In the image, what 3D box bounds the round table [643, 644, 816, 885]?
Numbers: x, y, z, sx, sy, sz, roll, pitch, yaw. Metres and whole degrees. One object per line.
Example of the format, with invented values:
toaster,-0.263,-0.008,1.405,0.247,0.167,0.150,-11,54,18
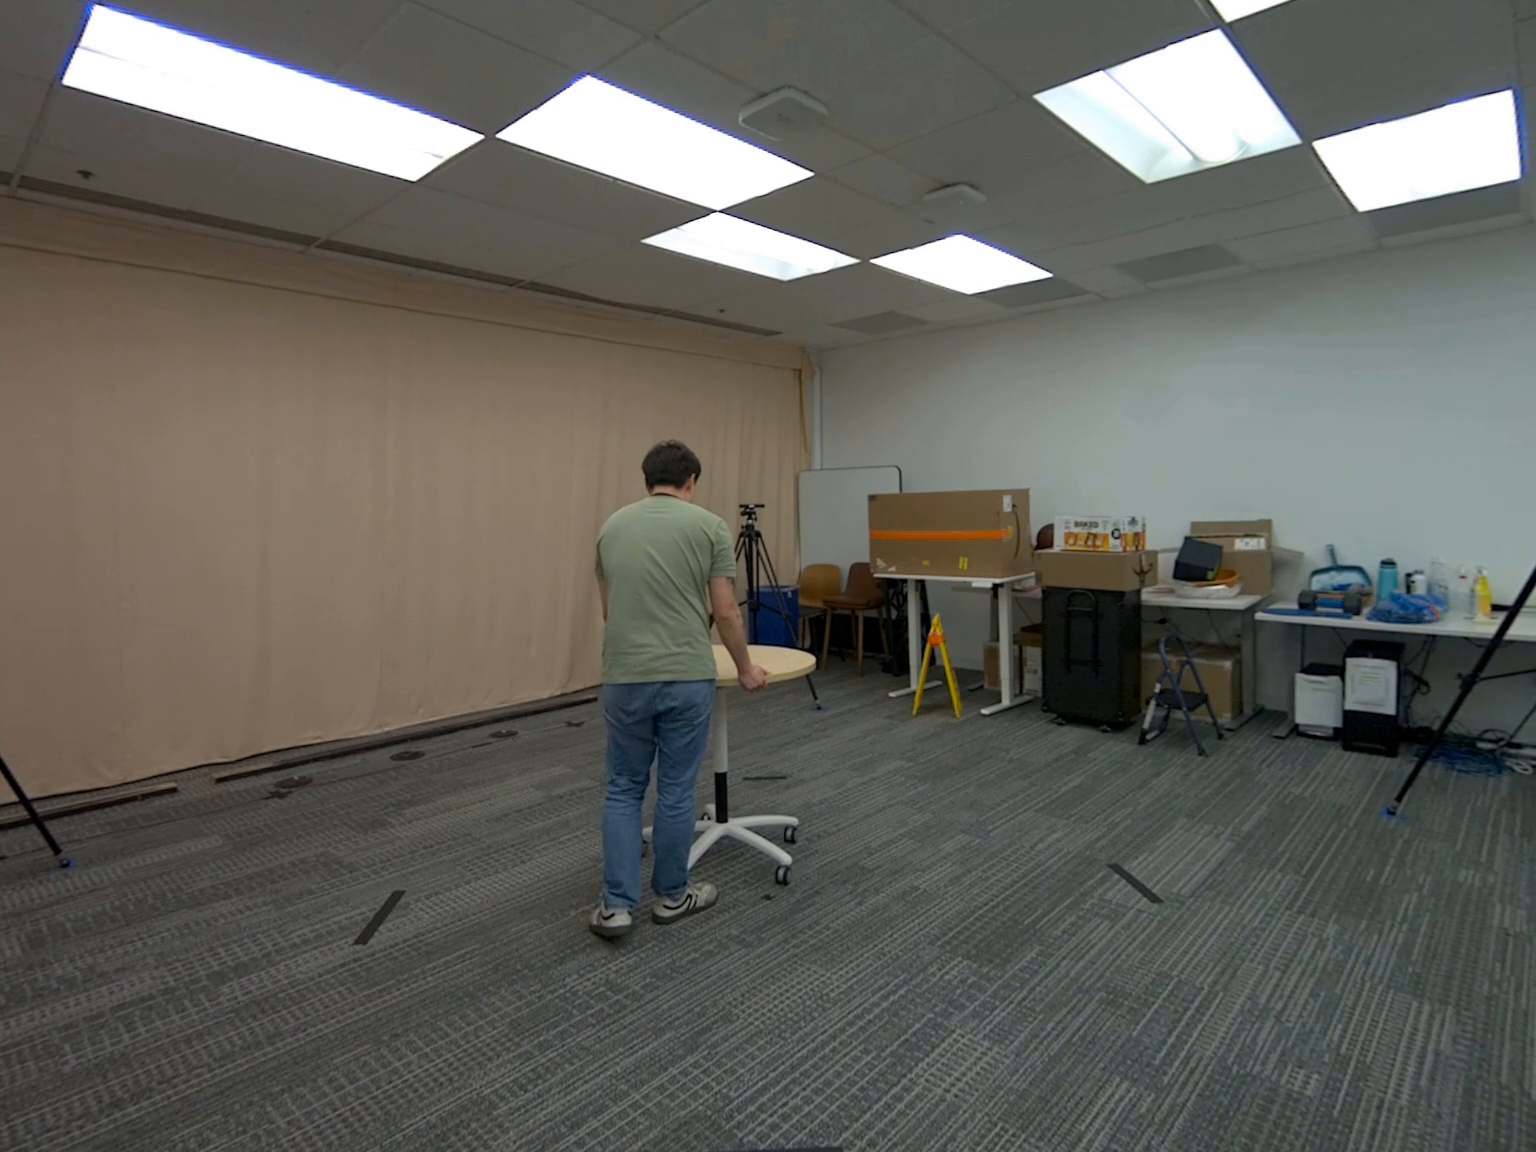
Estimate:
round table,-0.183,0.725,3.318,0.763,0.792,0.766,-1,3,-2
